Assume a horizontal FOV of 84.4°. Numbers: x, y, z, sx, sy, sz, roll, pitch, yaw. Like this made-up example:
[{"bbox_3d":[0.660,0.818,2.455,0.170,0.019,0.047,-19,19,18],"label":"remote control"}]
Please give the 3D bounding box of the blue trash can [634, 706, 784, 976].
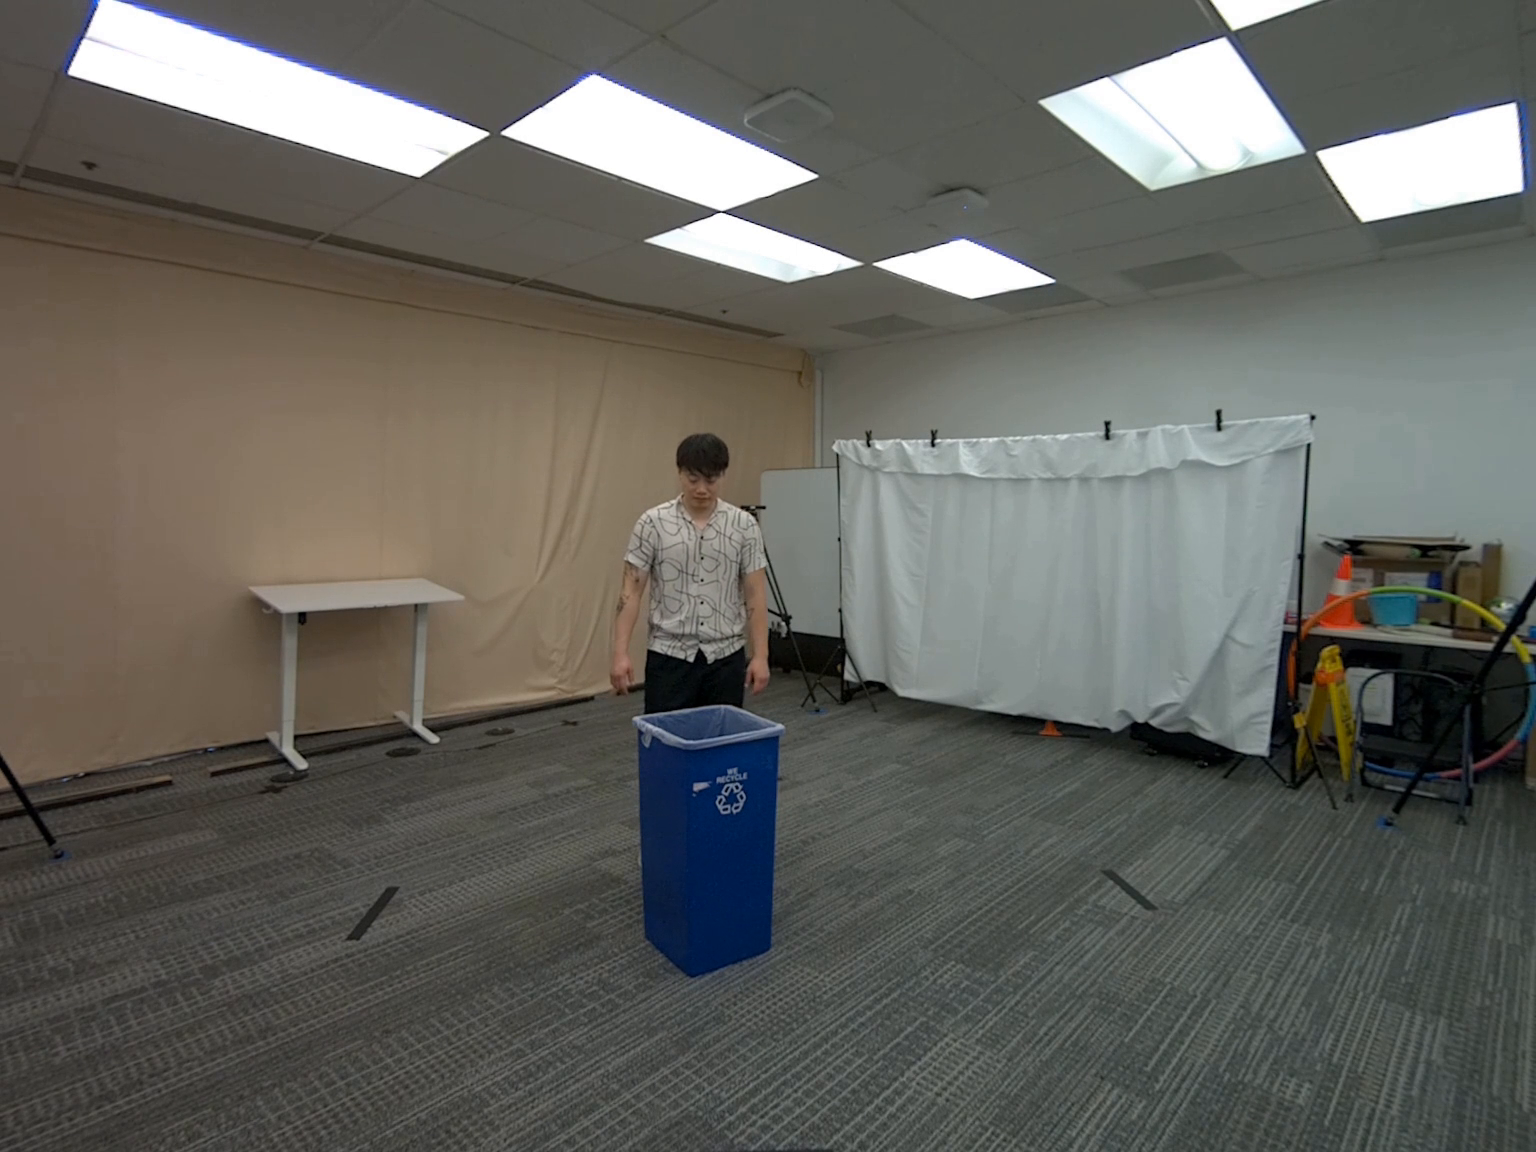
[{"bbox_3d":[-0.188,0.813,2.672,0.363,0.712,0.390,-2,5,-34],"label":"blue trash can"}]
